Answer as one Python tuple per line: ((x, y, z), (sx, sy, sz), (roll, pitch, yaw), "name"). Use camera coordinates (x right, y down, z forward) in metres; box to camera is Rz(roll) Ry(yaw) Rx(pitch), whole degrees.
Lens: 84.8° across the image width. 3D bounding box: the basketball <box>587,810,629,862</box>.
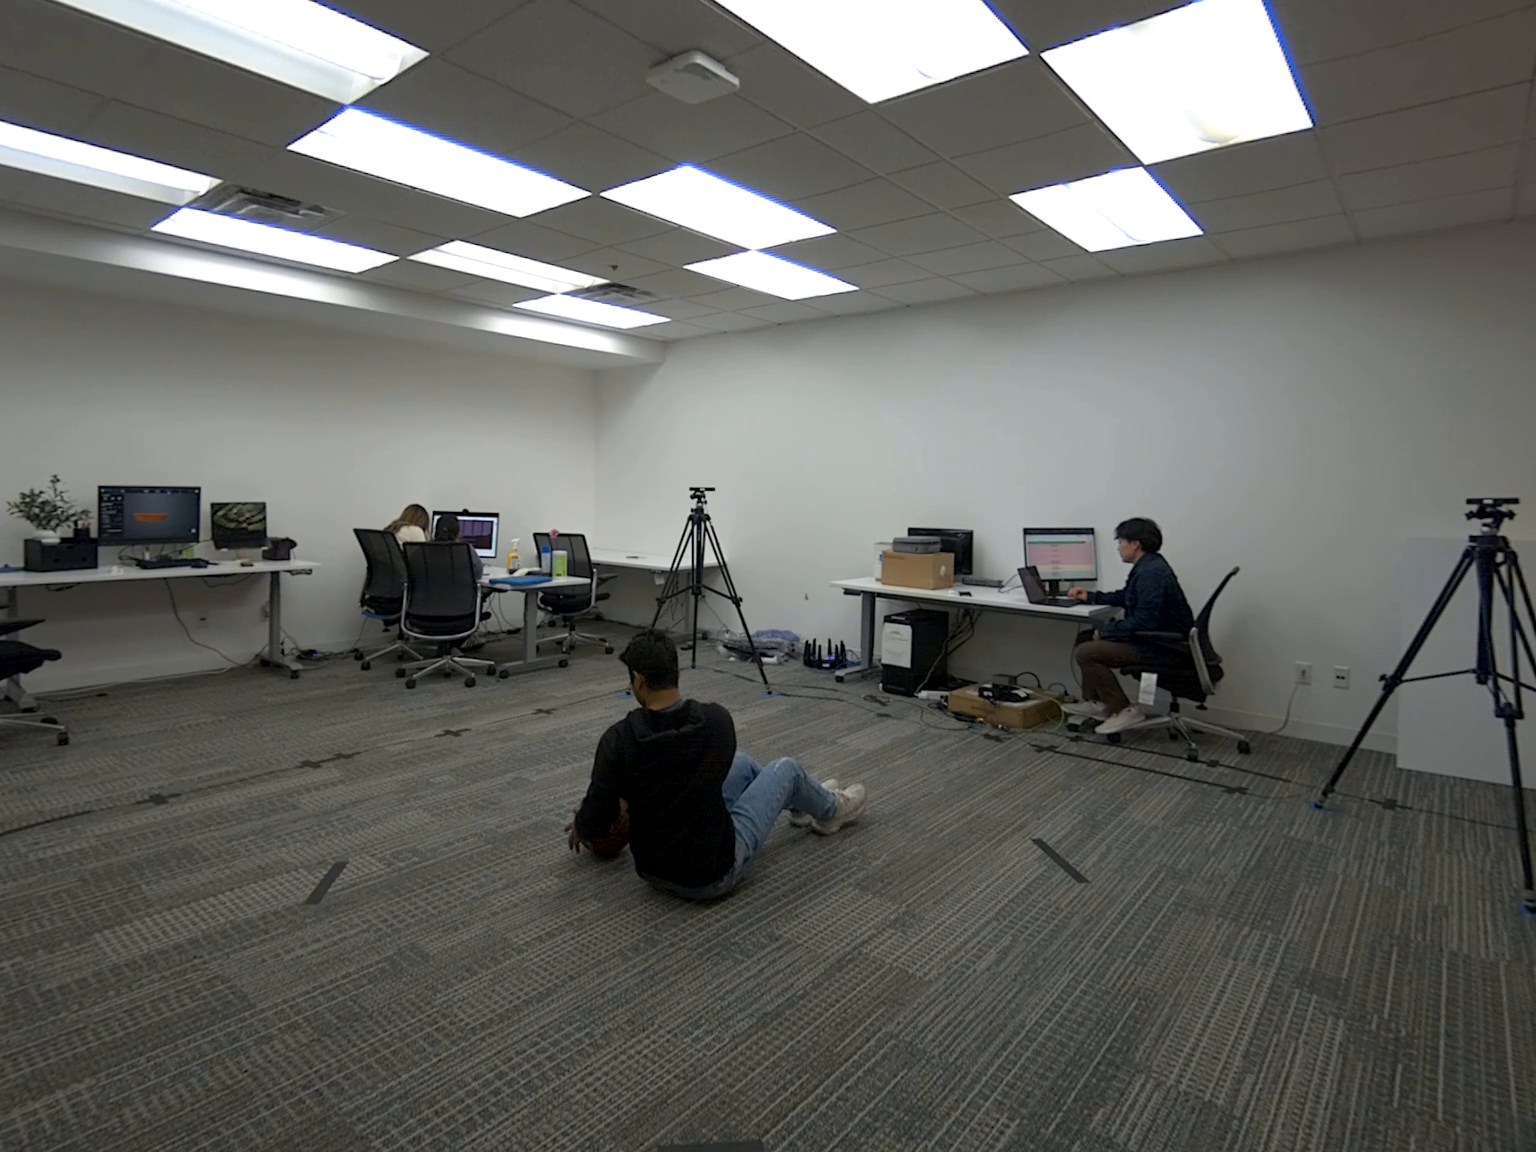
((-0.622, 0.929, 3.227), (0.235, 0.235, 0.237), (1, 4, -2), "basketball")
